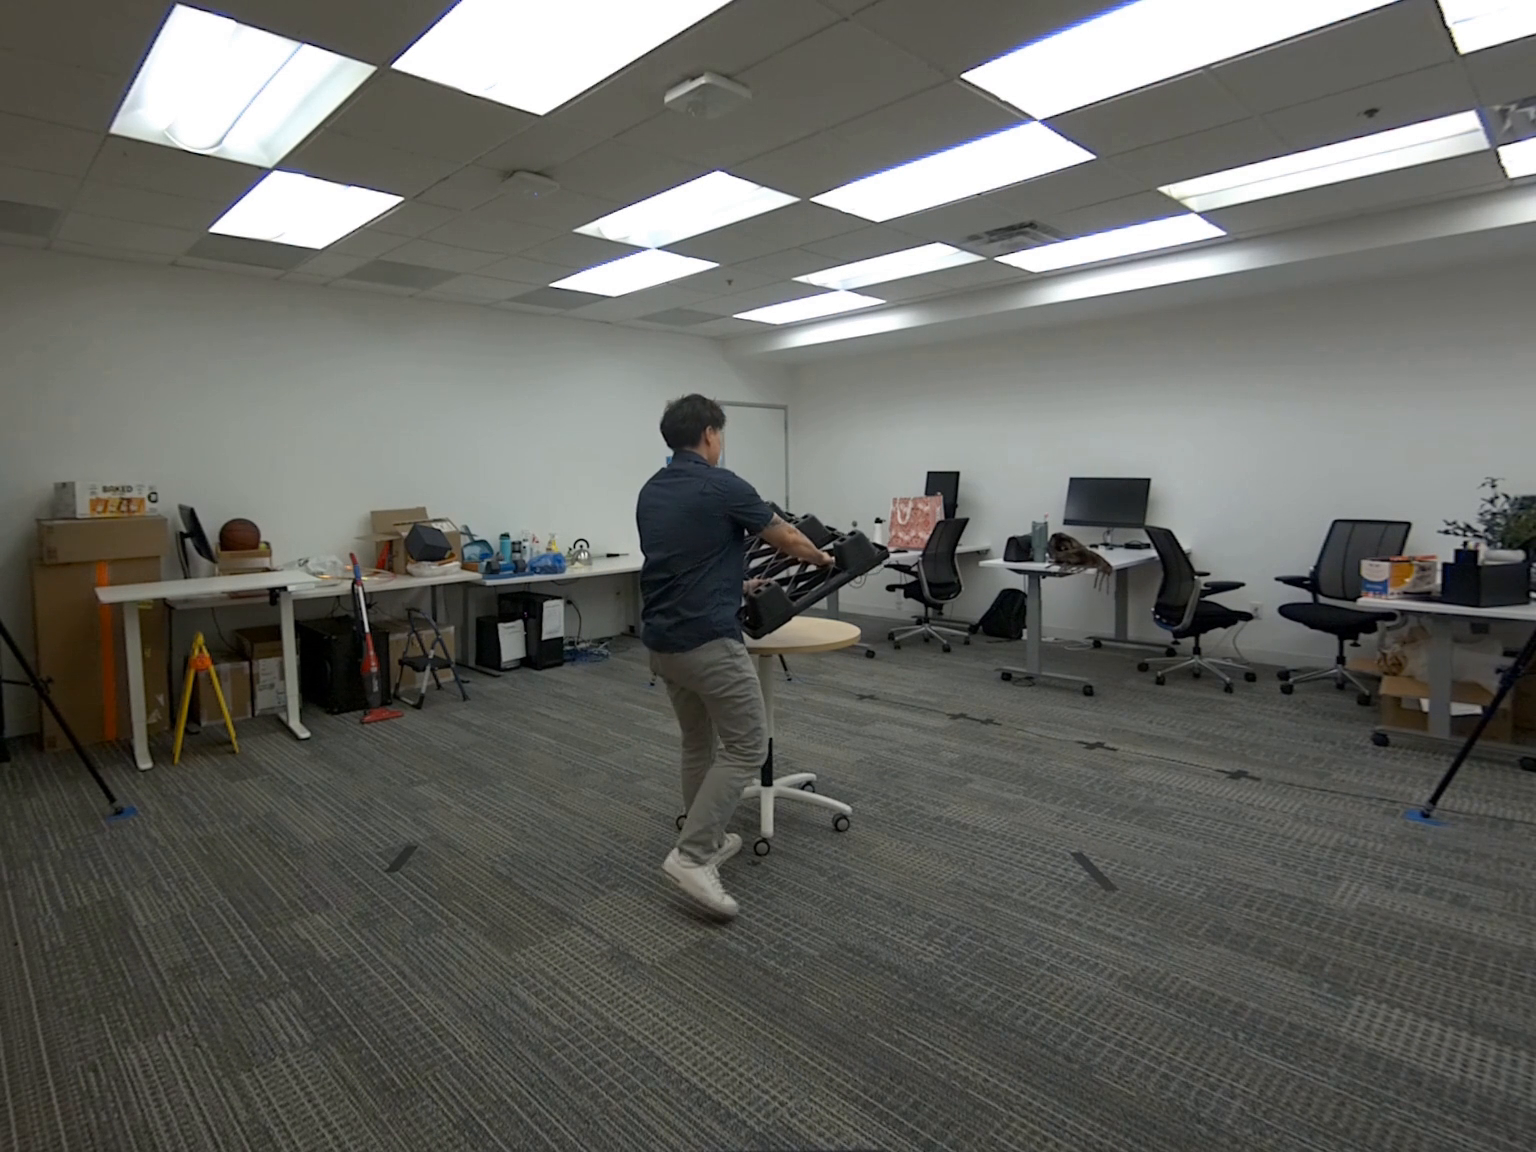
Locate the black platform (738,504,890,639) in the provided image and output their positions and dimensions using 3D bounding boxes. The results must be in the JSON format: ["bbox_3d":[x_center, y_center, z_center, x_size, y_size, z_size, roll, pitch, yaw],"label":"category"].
[{"bbox_3d":[0.007,-0.065,3.321,0.601,0.139,0.831,-32,26,-16],"label":"black platform"}]
